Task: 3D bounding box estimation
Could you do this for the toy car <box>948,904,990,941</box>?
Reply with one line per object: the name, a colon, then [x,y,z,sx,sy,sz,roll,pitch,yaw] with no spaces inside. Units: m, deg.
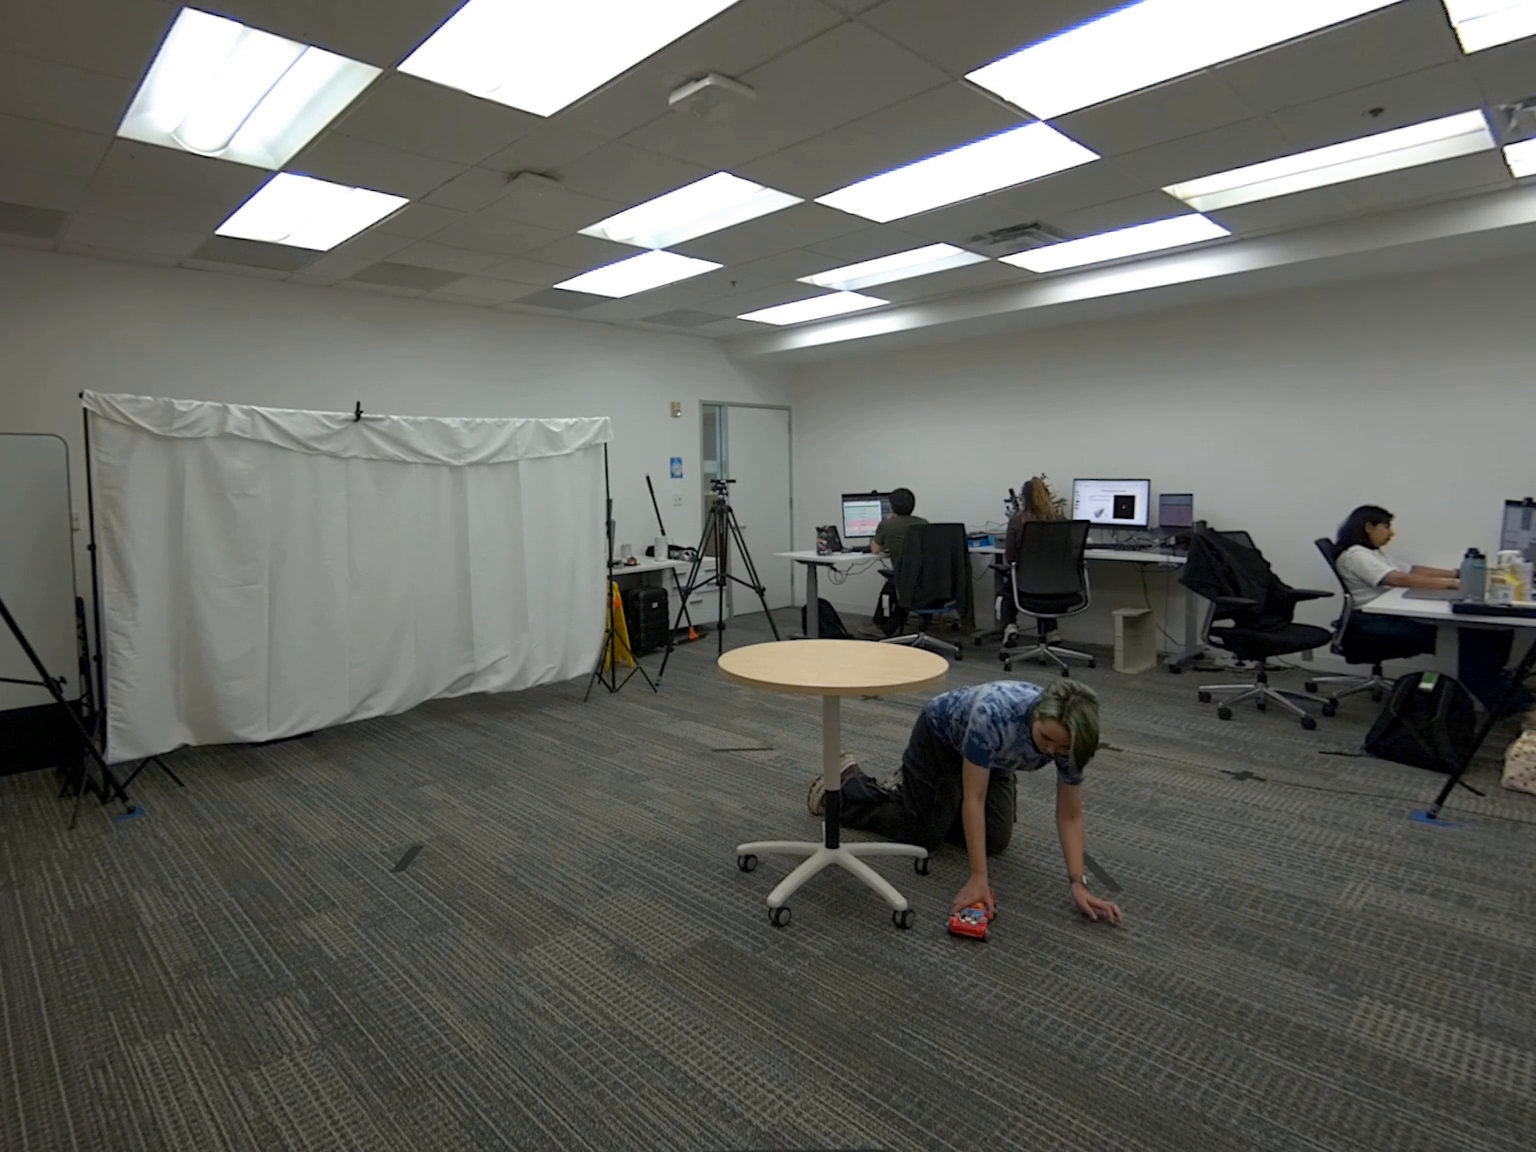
toy car: [0.647,1.060,2.661,0.132,0.082,0.253,-1,16,18]
